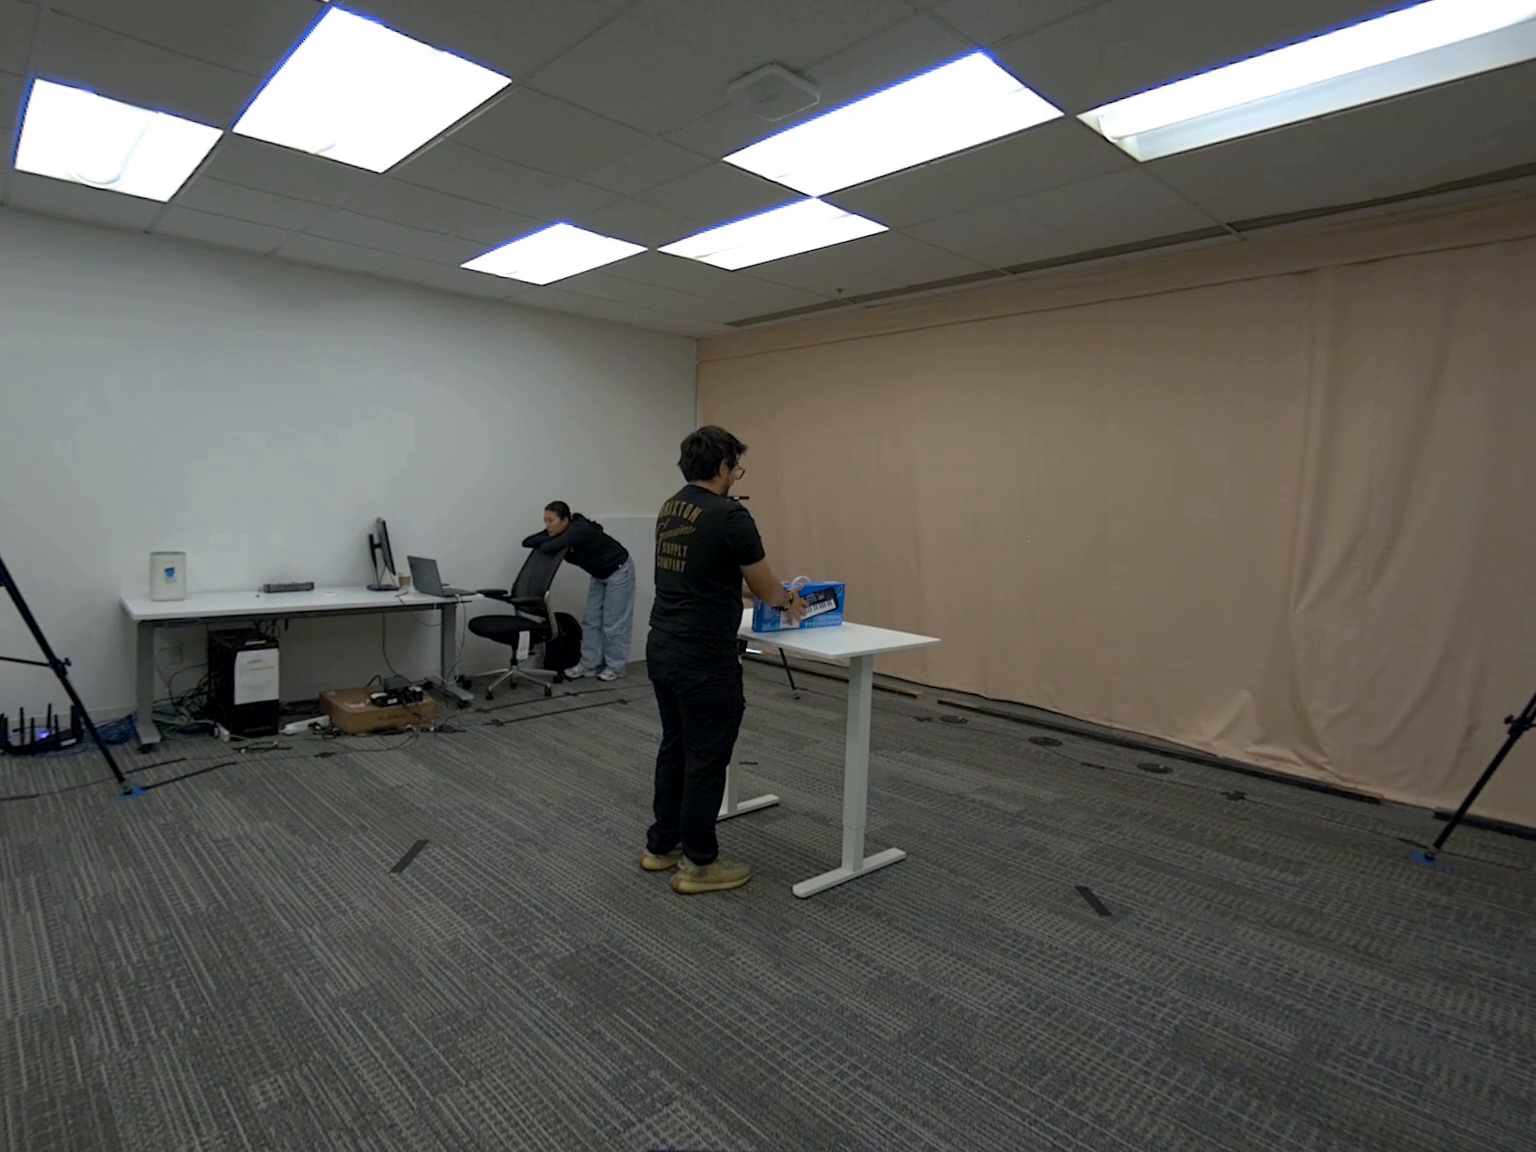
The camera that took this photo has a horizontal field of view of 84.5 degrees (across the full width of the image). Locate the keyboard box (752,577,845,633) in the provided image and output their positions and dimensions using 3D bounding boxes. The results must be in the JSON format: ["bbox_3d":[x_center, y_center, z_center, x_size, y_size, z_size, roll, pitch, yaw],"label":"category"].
[{"bbox_3d":[0.122,0.123,3.335,0.427,0.175,0.061,-2,9,-39],"label":"keyboard box"}]
